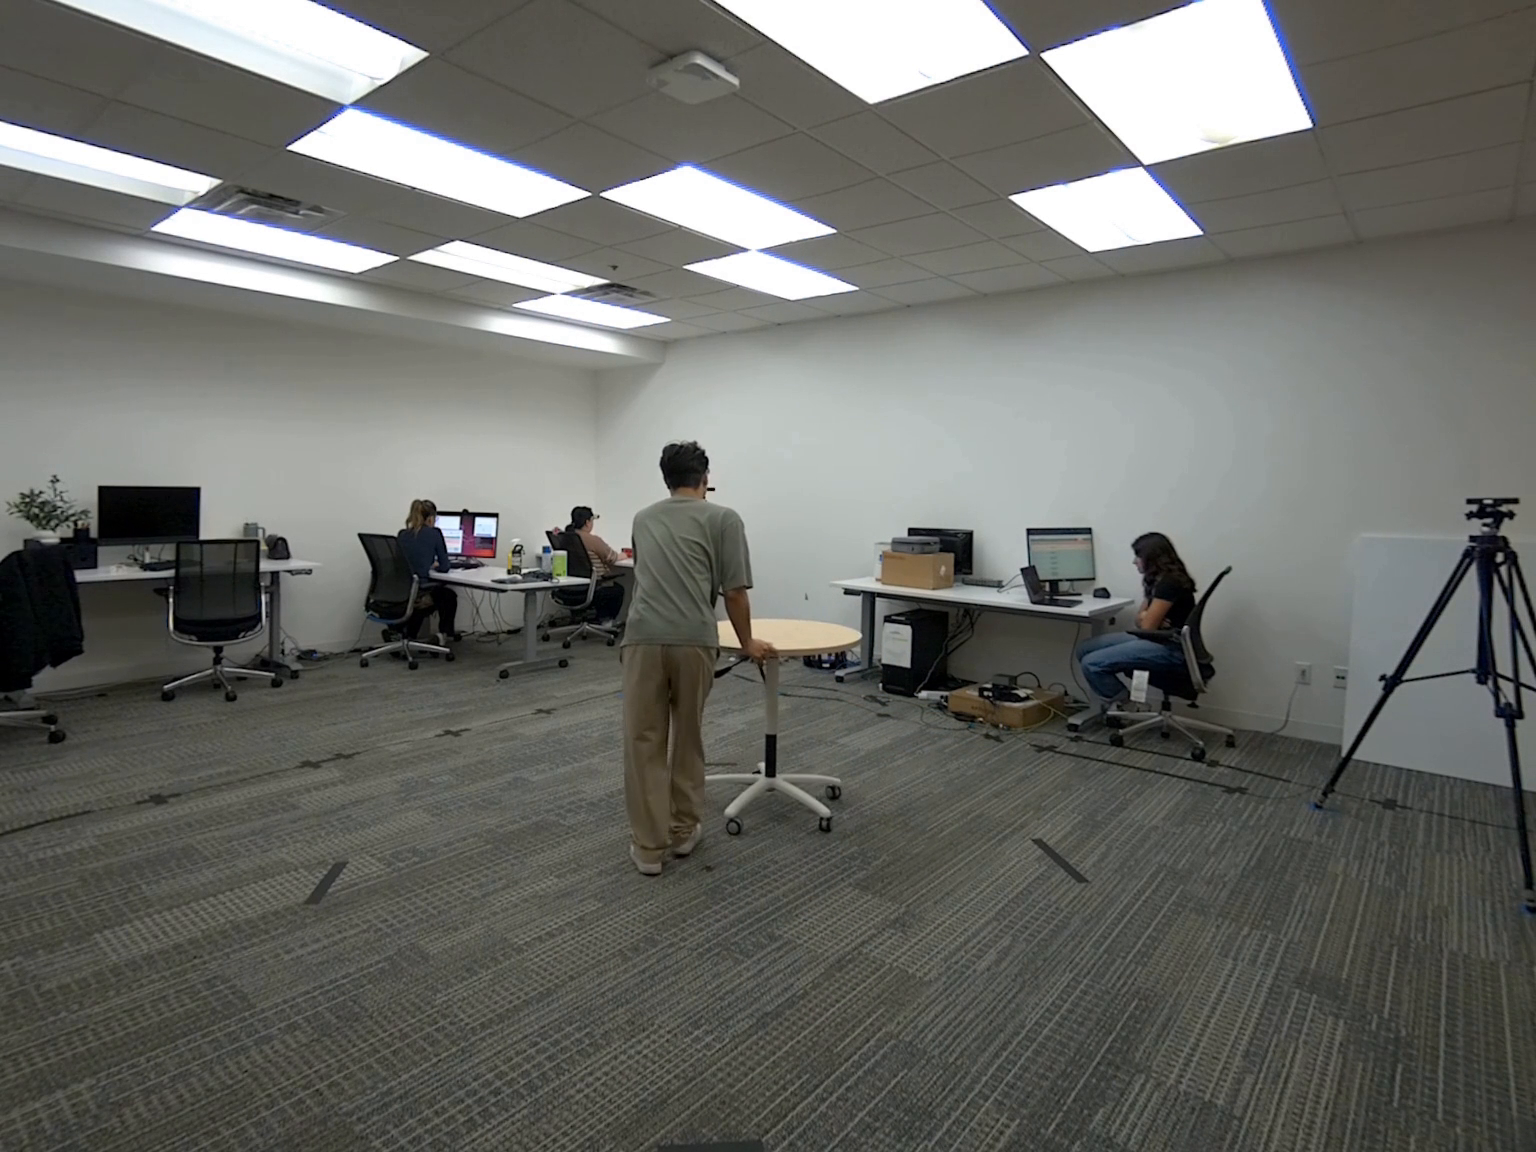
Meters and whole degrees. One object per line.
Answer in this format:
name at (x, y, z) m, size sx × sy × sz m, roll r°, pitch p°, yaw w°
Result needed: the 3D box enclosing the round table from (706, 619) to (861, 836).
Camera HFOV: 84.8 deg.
round table at (0.019, 0.624, 3.702) m, size 0.784 × 0.783 × 0.789 m, roll 0°, pitch 5°, yaw -2°
